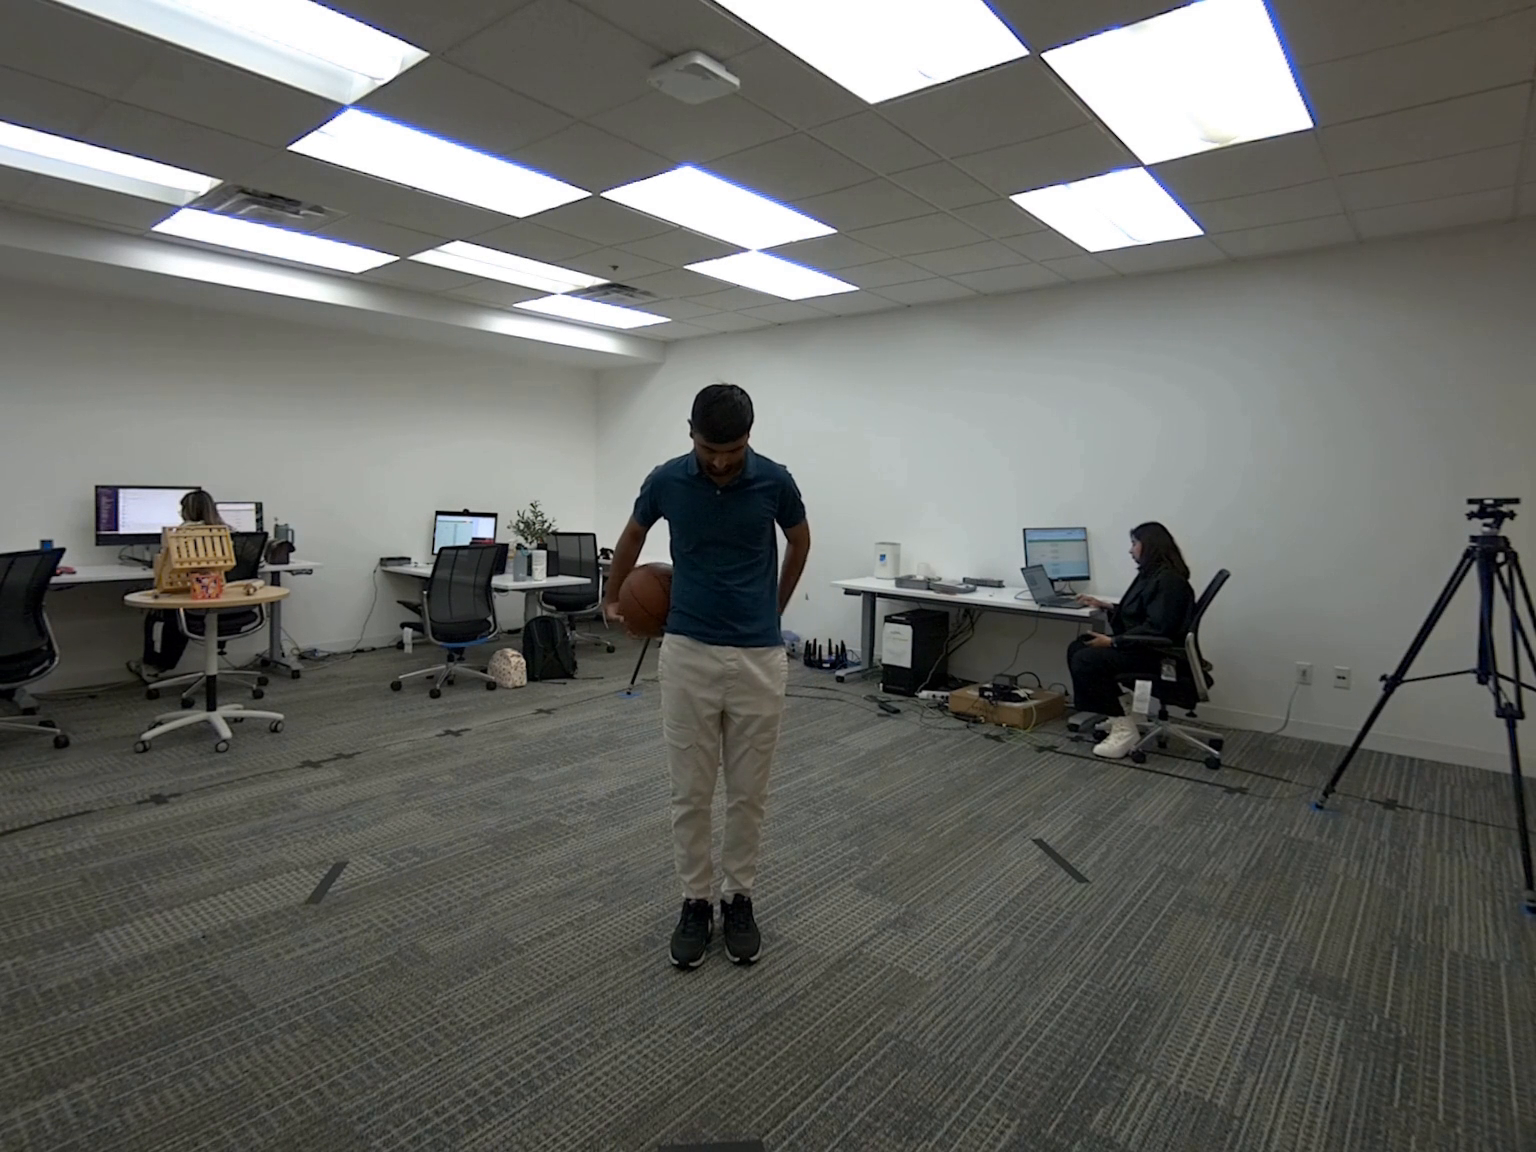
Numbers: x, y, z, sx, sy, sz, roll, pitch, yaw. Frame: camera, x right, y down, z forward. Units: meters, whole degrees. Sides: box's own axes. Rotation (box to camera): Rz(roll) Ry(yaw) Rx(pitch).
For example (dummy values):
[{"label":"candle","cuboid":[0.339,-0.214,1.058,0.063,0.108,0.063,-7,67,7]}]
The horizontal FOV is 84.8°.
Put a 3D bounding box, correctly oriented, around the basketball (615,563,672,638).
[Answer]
[{"label":"basketball","cuboid":[-0.365,0.075,2.707,0.235,0.235,0.237,1,4,-2]}]
